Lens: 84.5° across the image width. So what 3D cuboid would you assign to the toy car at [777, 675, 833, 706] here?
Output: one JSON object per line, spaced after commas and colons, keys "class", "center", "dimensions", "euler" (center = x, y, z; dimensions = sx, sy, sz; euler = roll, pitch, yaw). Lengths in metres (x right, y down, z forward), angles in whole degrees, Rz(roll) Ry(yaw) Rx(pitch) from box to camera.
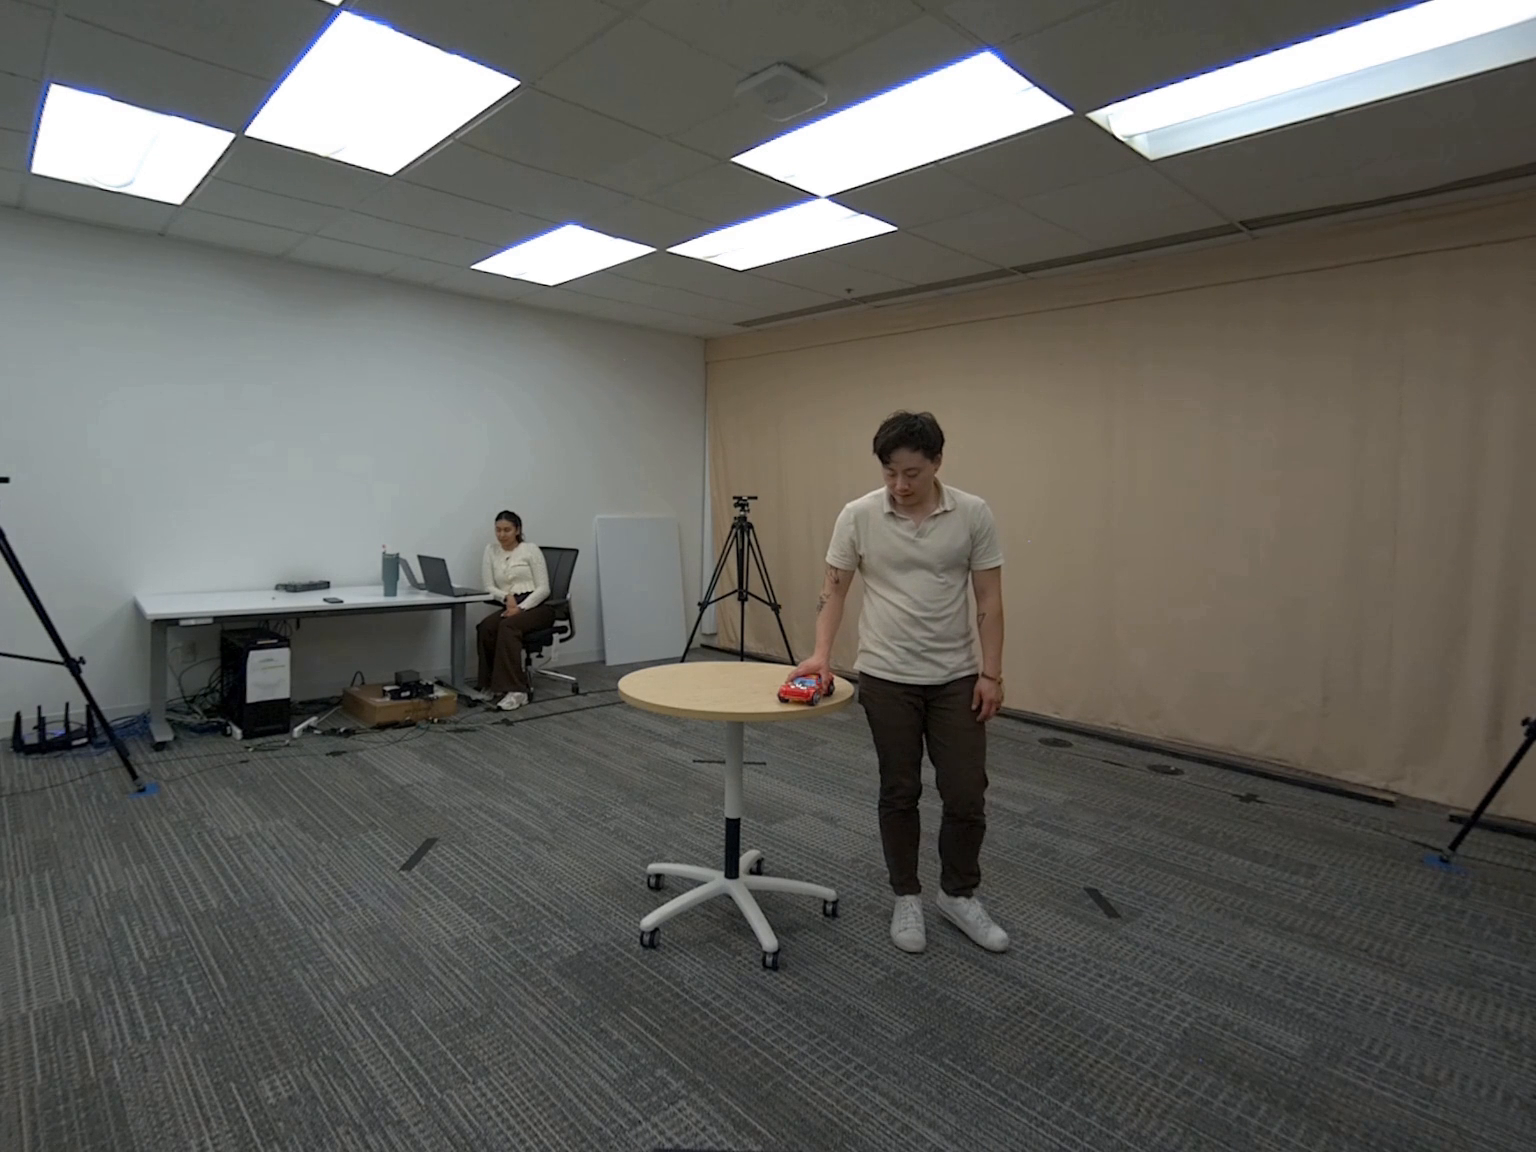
{"class": "toy car", "center": [0.117, 0.341, 2.560], "dimensions": [0.132, 0.082, 0.253], "euler": [2, 16, 22]}
